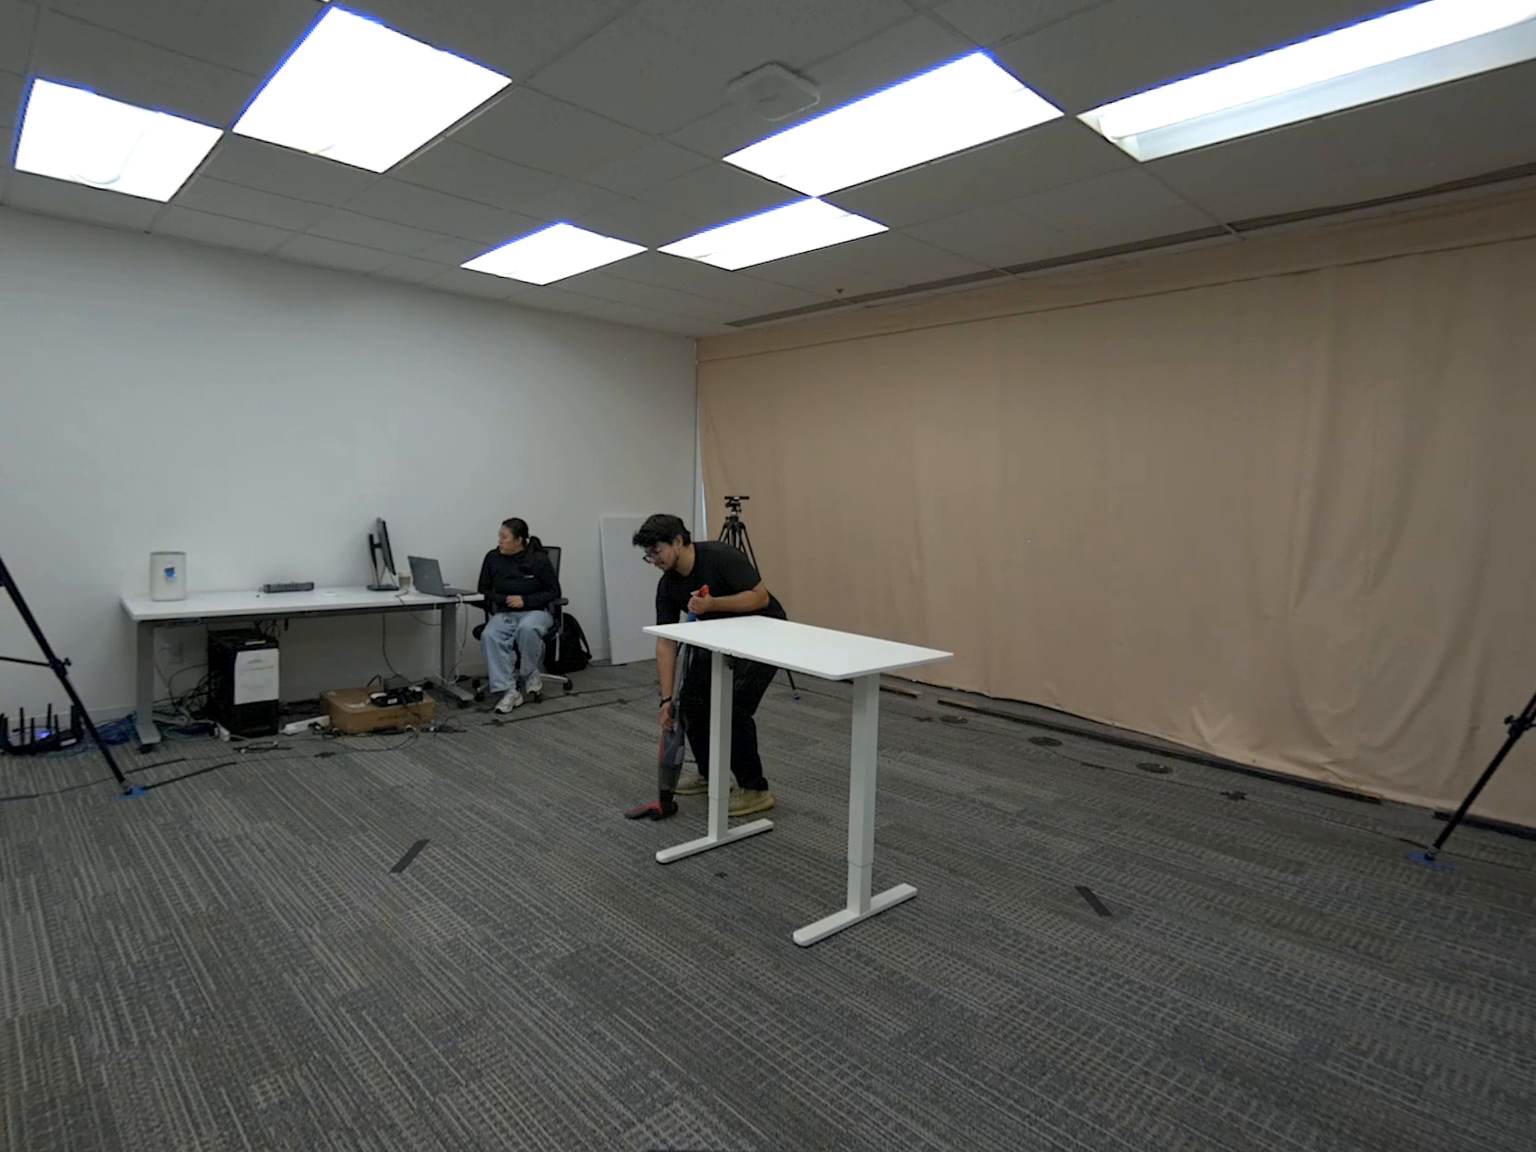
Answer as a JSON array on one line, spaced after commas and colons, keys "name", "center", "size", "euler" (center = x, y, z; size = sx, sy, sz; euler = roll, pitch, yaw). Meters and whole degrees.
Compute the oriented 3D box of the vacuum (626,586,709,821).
[{"name": "vacuum", "center": [-0.383, 0.545, 3.572], "size": [0.148, 1.041, 0.247], "euler": [23, 16, 33]}]
